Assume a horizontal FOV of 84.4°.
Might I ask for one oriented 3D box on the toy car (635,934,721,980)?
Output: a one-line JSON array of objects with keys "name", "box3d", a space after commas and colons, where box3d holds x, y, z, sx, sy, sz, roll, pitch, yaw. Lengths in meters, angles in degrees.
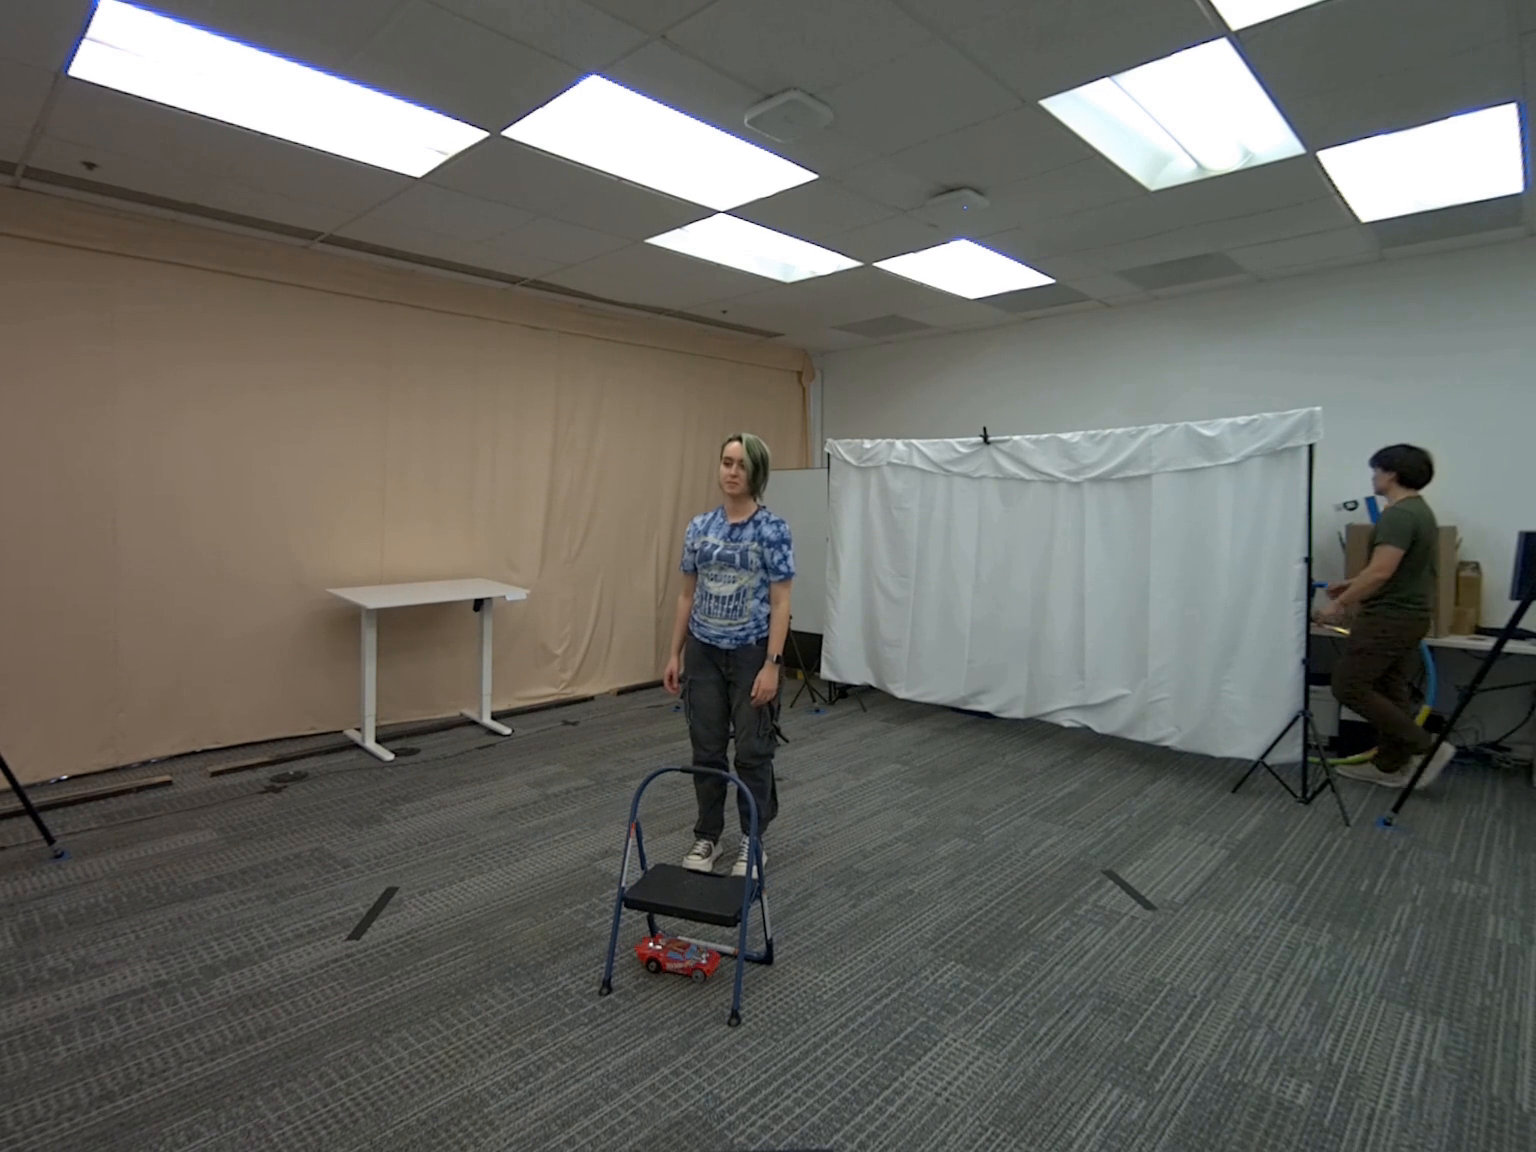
[{"name": "toy car", "box3d": [-0.272, 1.146, 2.541, 0.260, 0.083, 0.128, 14, 9, 19]}]
